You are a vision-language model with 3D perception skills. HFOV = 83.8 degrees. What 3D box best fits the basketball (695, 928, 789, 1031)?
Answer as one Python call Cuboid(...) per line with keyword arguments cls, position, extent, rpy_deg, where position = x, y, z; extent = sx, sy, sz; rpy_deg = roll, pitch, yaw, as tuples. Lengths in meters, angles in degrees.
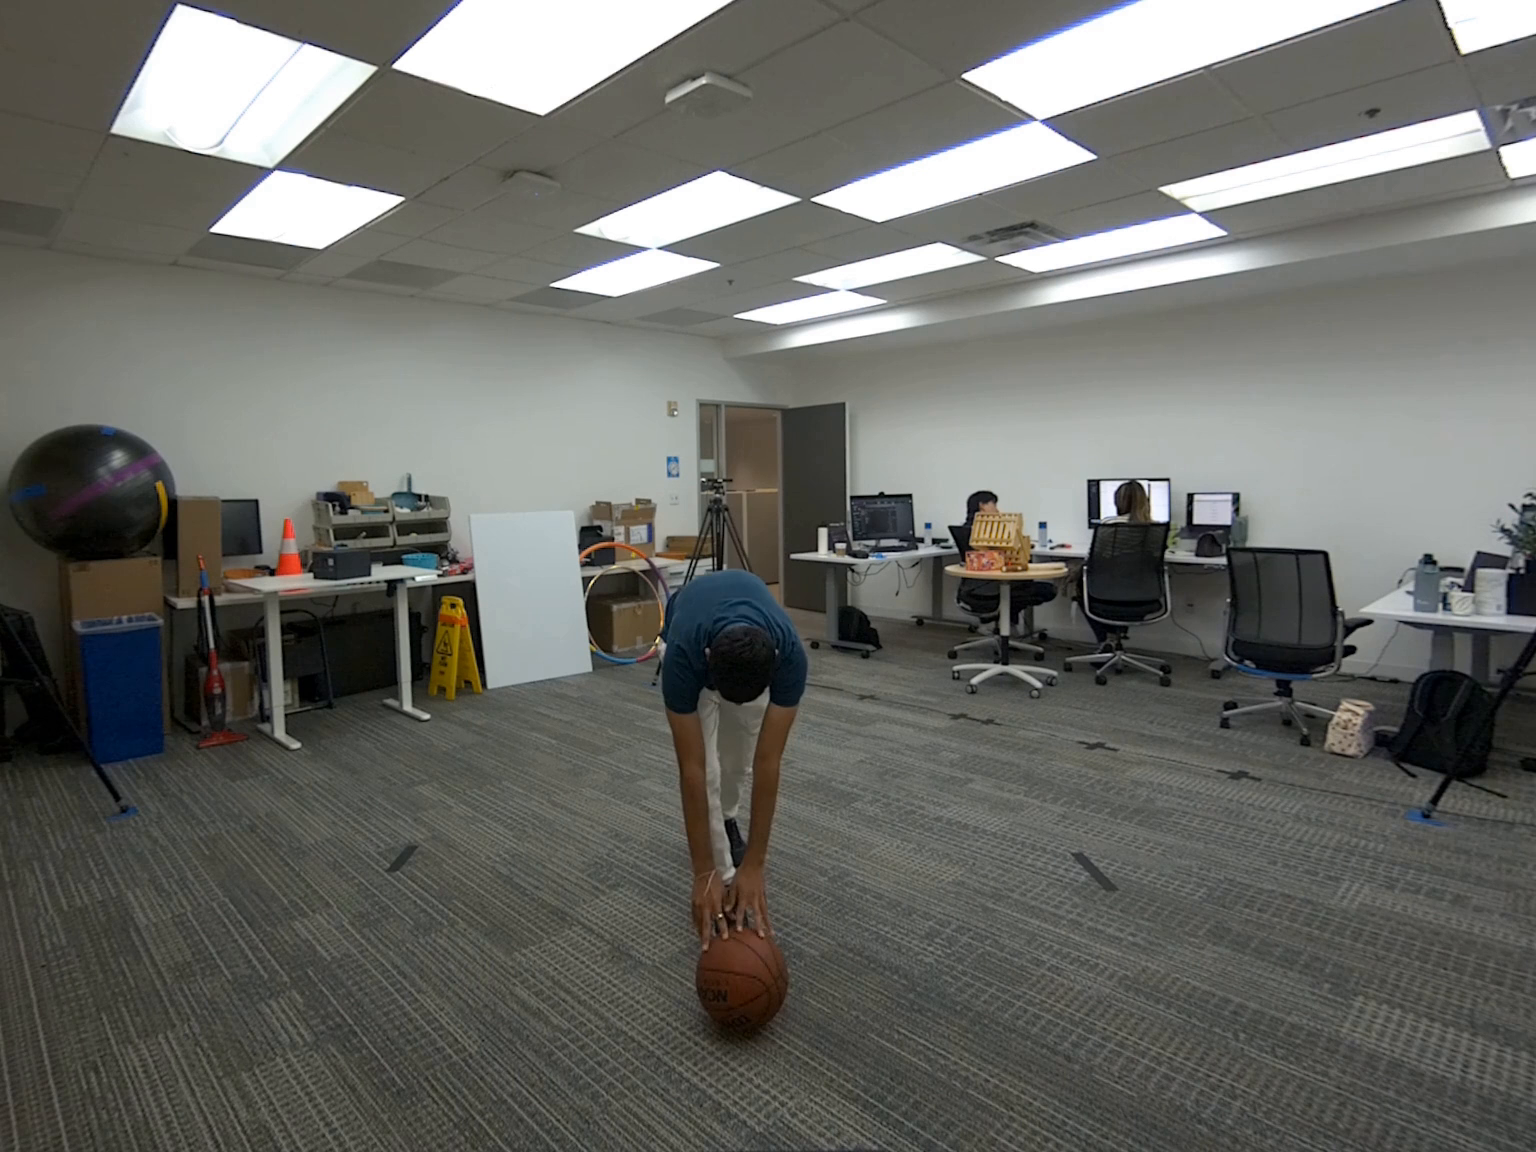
Cuboid(cls="basketball", position=(-0.064, 1.030, 2.199), extent=(0.236, 0.235, 0.237), rpy_deg=(-1, 5, -2))
